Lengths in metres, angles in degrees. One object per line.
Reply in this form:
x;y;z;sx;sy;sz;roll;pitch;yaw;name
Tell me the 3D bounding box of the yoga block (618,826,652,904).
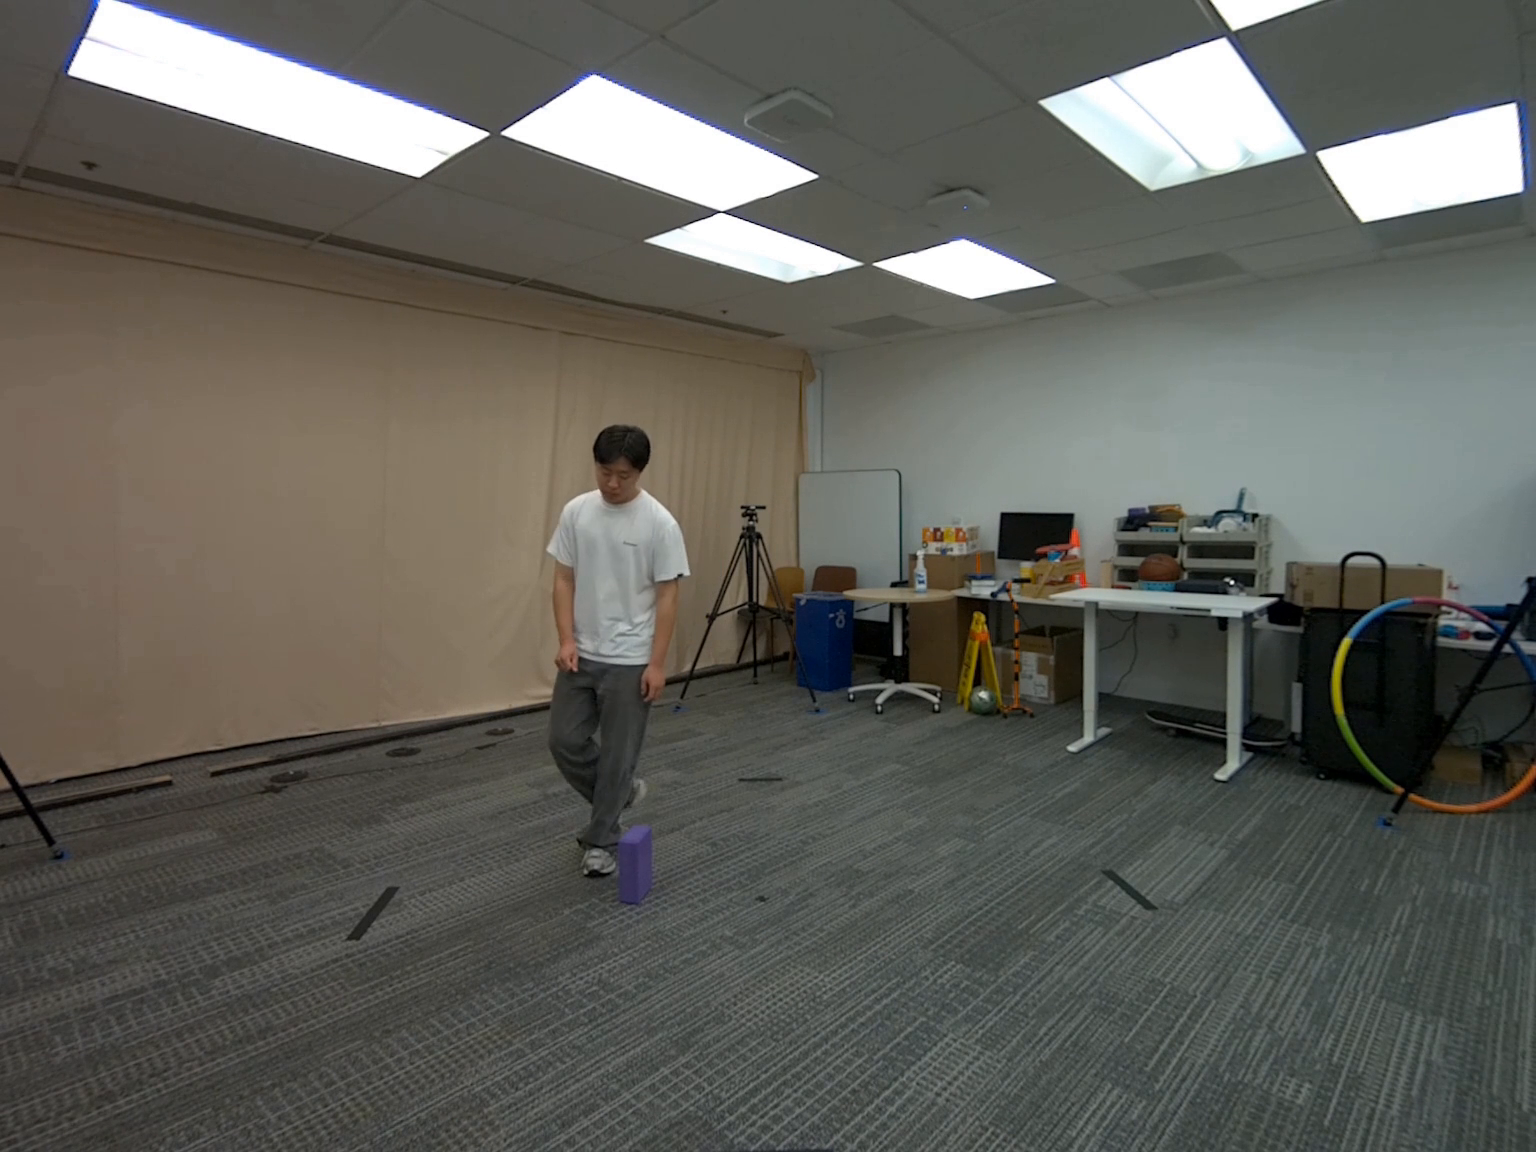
-0.468;1.030;3.009;0.078;0.229;0.147;1;3;13;yoga block
